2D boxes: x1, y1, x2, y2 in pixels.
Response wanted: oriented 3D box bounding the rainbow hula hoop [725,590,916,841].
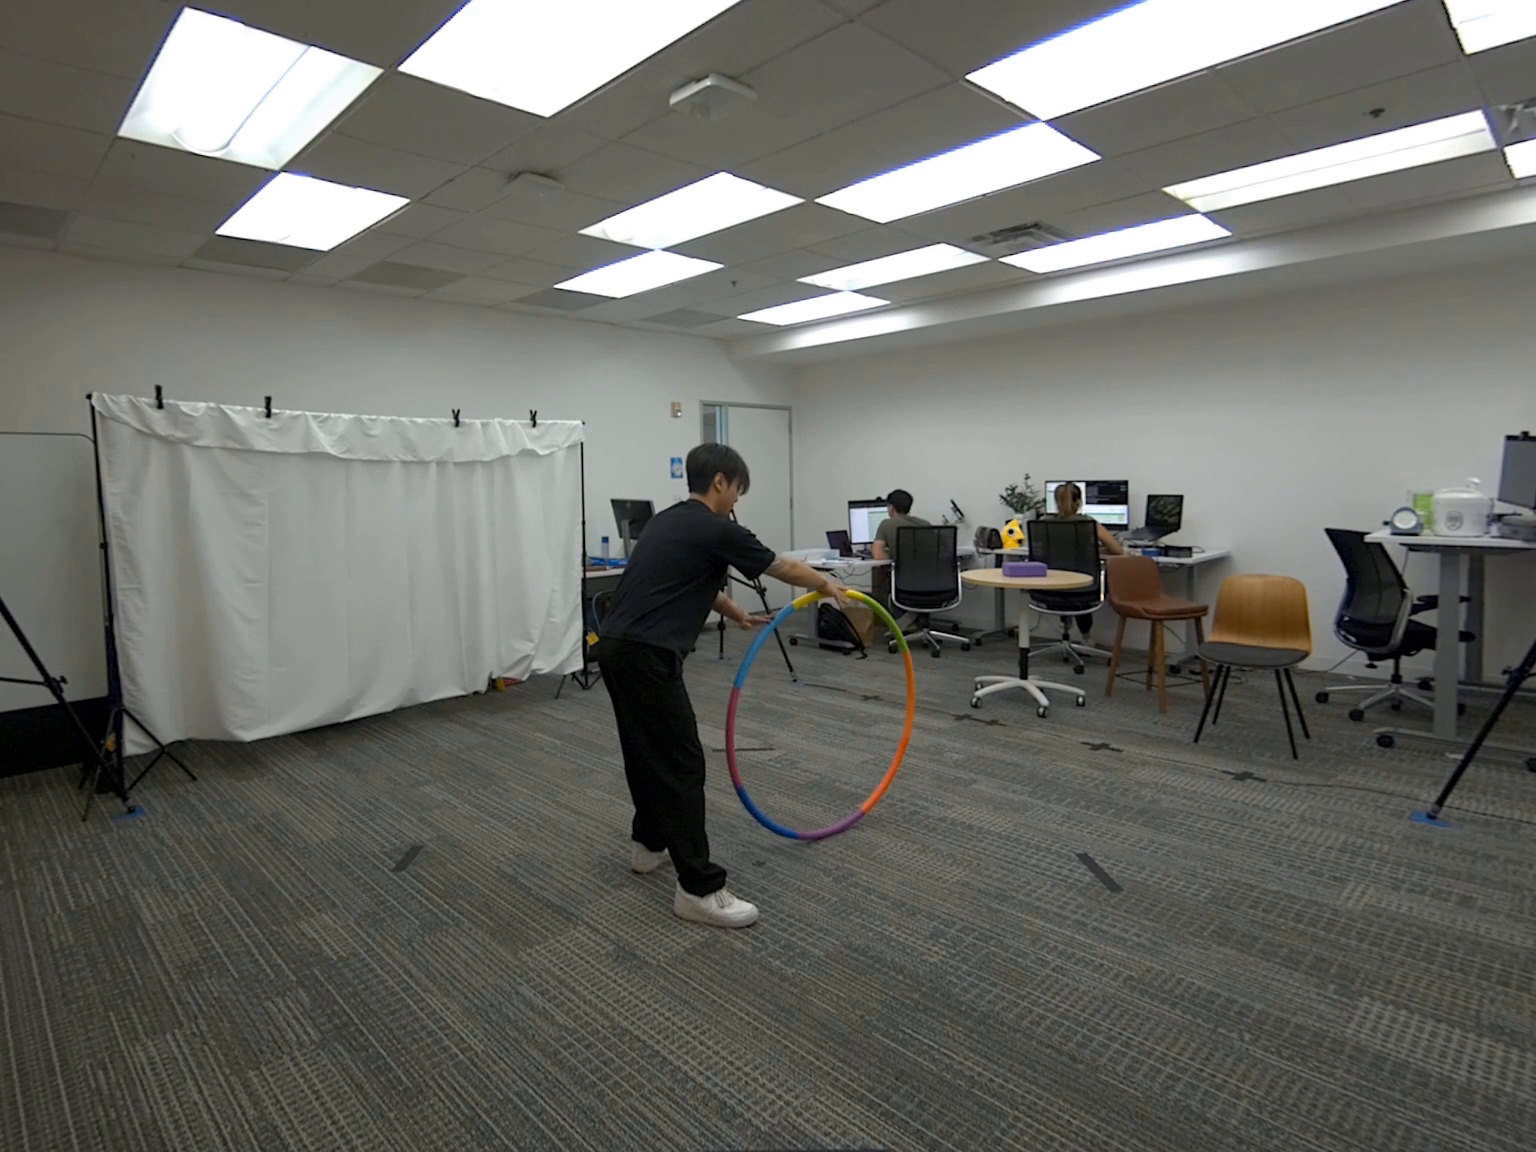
[{"bbox_3d":[0.243,0.537,3.317,0.953,0.974,0.036,-5,6,-38],"label":"rainbow hula hoop"}]
